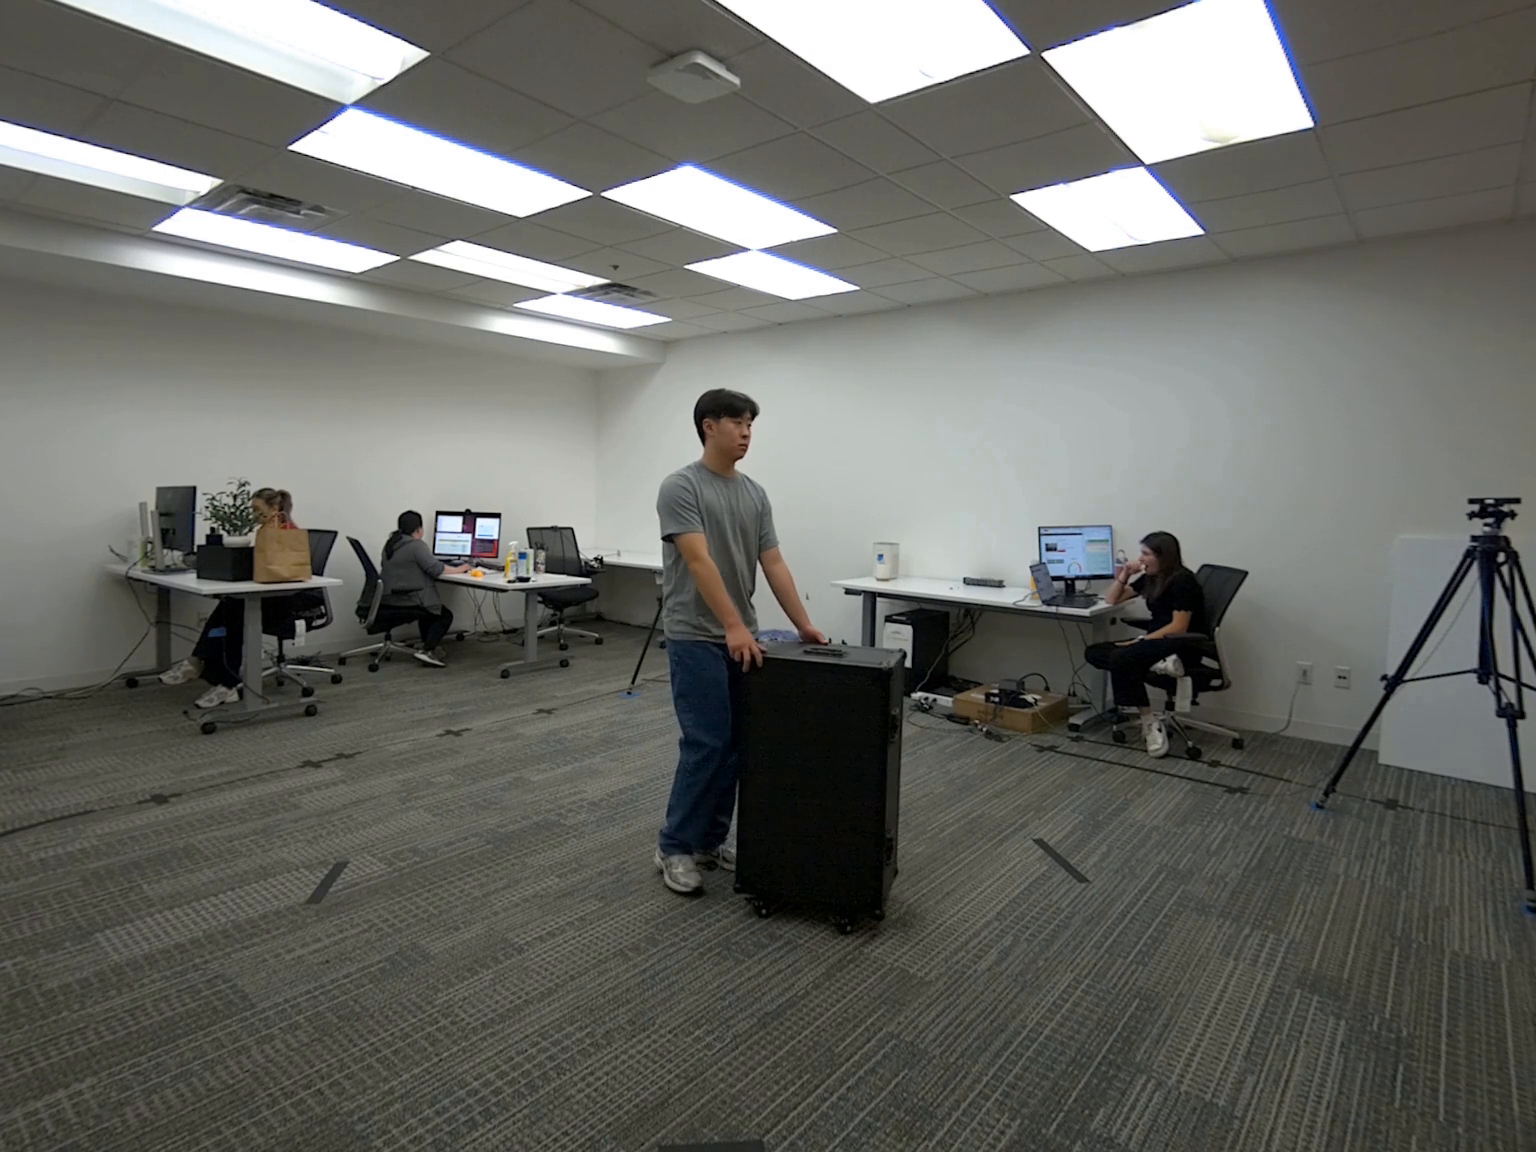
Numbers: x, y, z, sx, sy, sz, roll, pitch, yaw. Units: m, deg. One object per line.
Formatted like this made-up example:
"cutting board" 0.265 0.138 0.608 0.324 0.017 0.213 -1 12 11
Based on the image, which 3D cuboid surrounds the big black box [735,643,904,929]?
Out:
"big black box" 0.173 0.679 2.846 0.532 0.860 0.389 2 2 18
